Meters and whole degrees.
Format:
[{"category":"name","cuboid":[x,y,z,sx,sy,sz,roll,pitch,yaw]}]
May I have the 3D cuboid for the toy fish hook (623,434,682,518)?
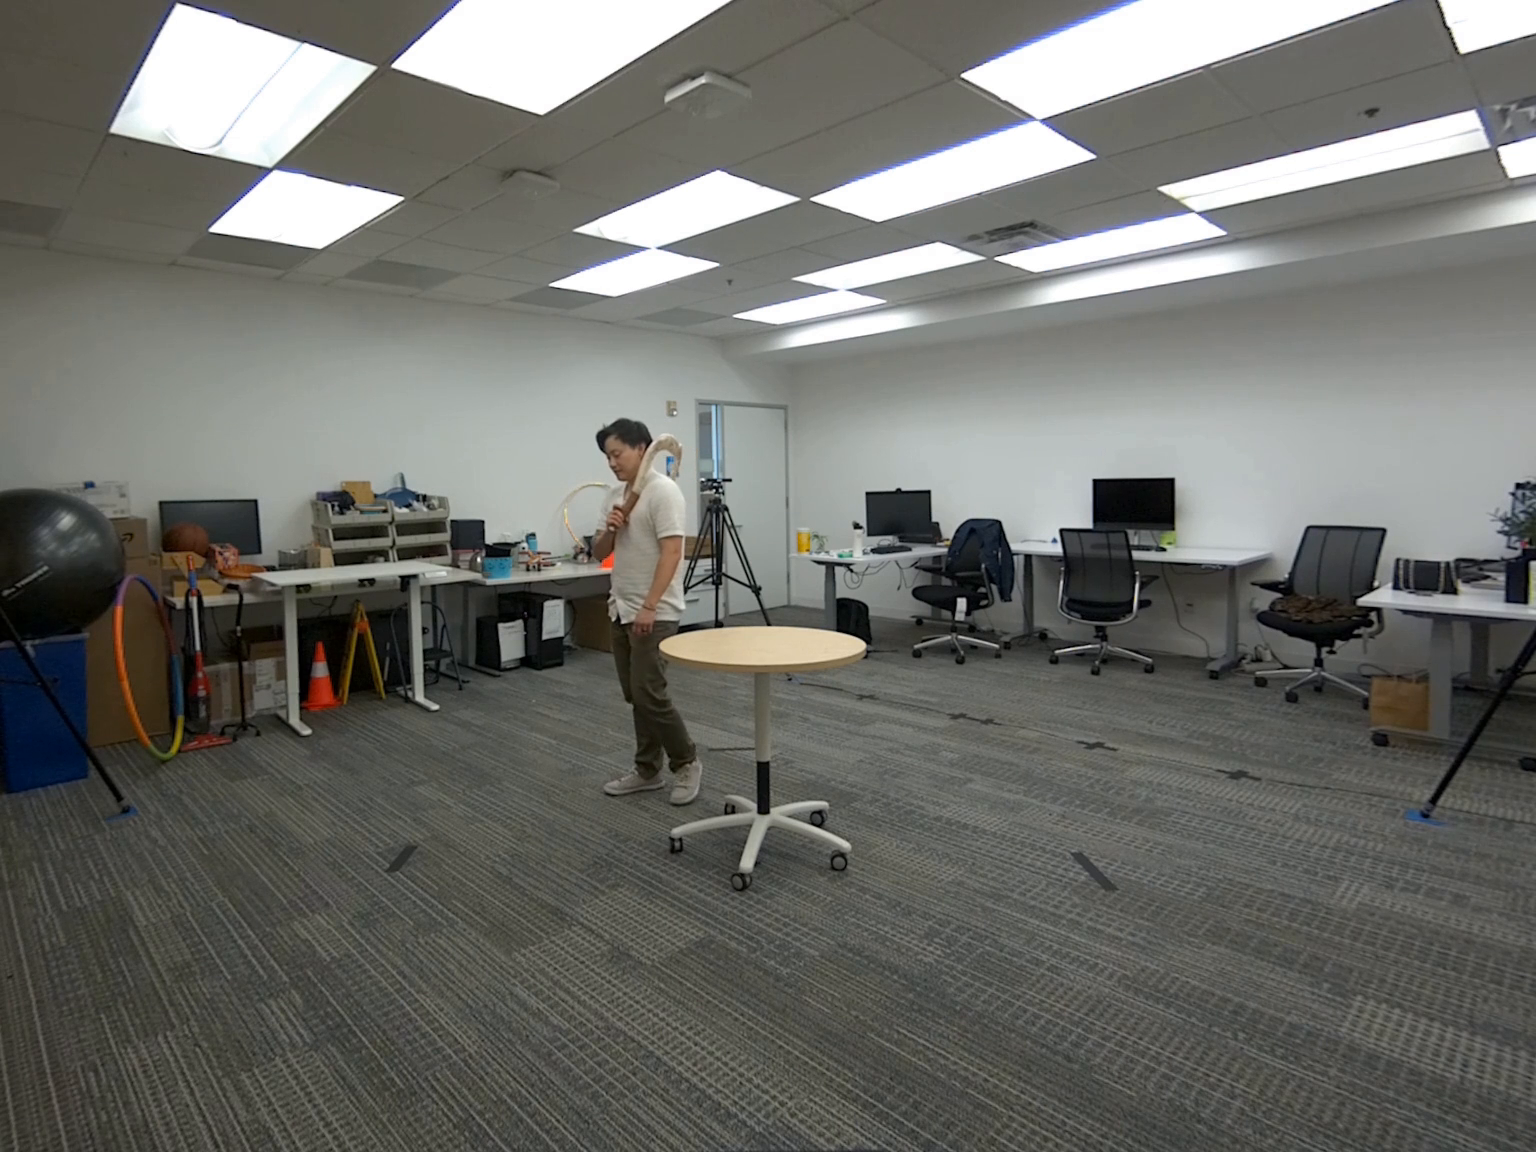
[{"category":"toy fish hook","cuboid":[-0.528,-0.382,3.730,0.050,0.508,0.216,21,-13,44]}]
